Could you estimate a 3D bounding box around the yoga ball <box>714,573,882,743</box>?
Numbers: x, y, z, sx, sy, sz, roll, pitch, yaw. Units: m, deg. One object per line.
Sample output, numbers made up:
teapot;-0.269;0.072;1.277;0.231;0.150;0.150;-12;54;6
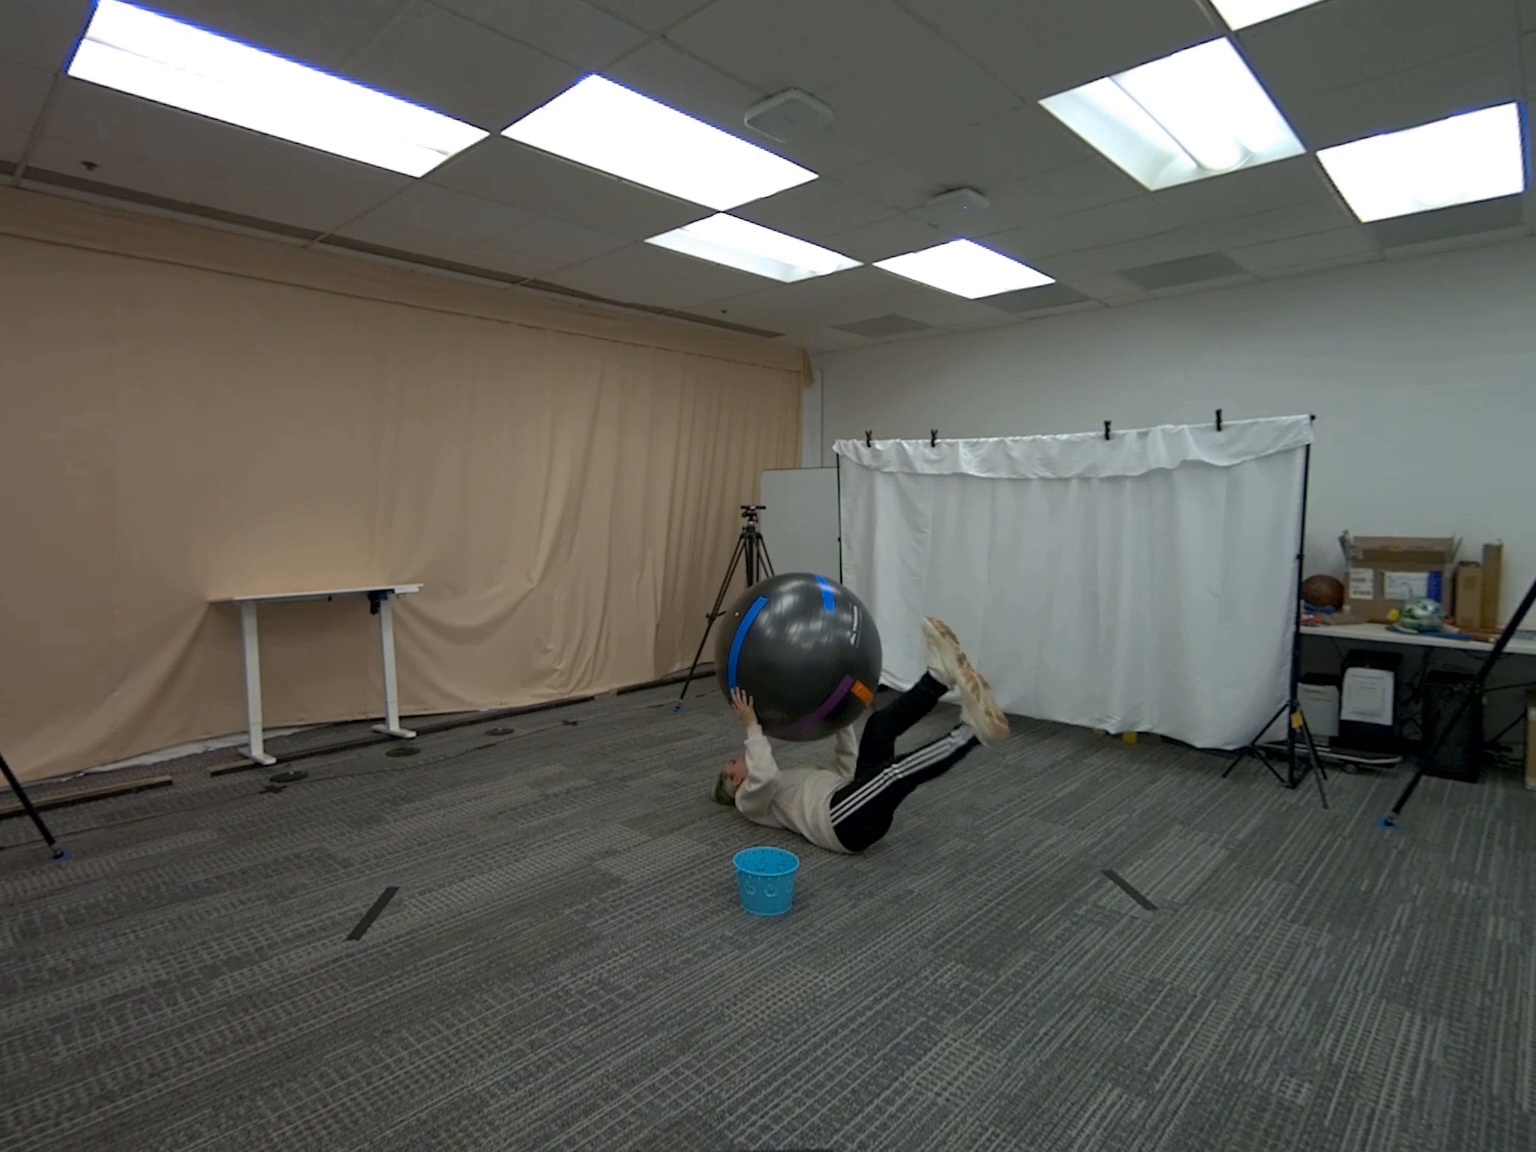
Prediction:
yoga ball;0.128;0.362;3.807;0.757;0.756;0.760;0;4;-2
